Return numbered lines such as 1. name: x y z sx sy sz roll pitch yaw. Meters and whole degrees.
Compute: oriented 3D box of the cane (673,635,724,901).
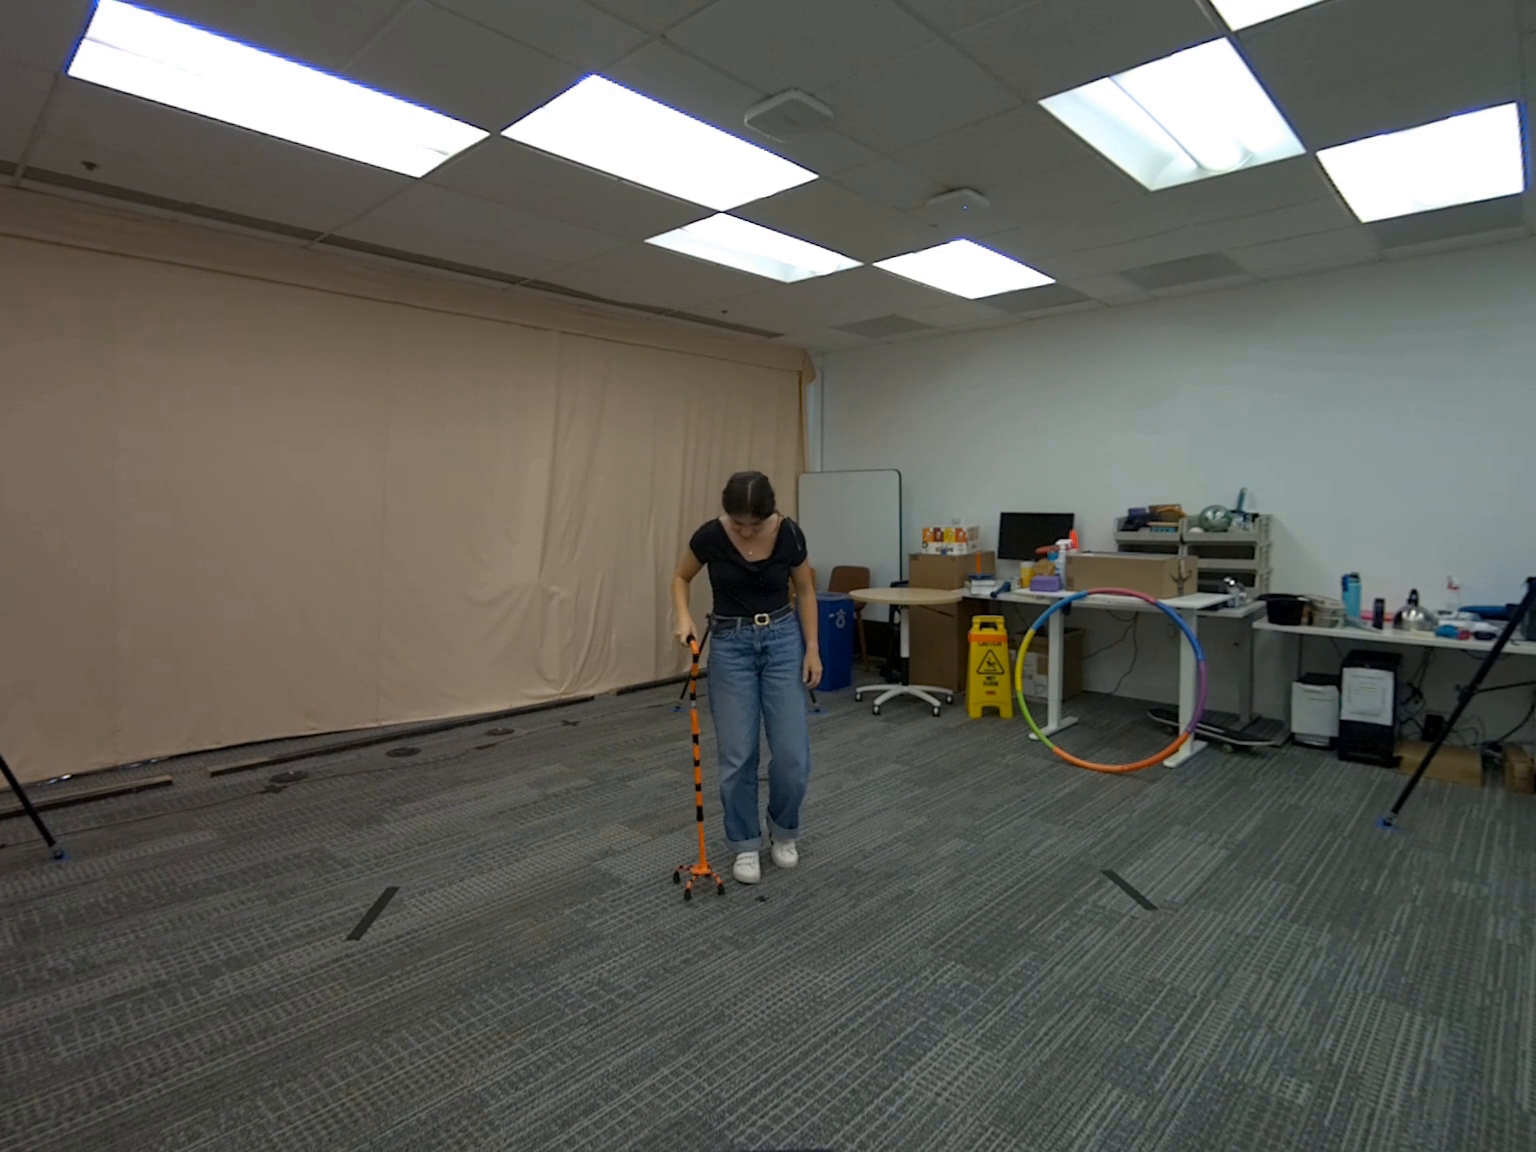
1. cane: -0.271 0.676 3.043 0.149 0.907 0.210 -4 1 -19
